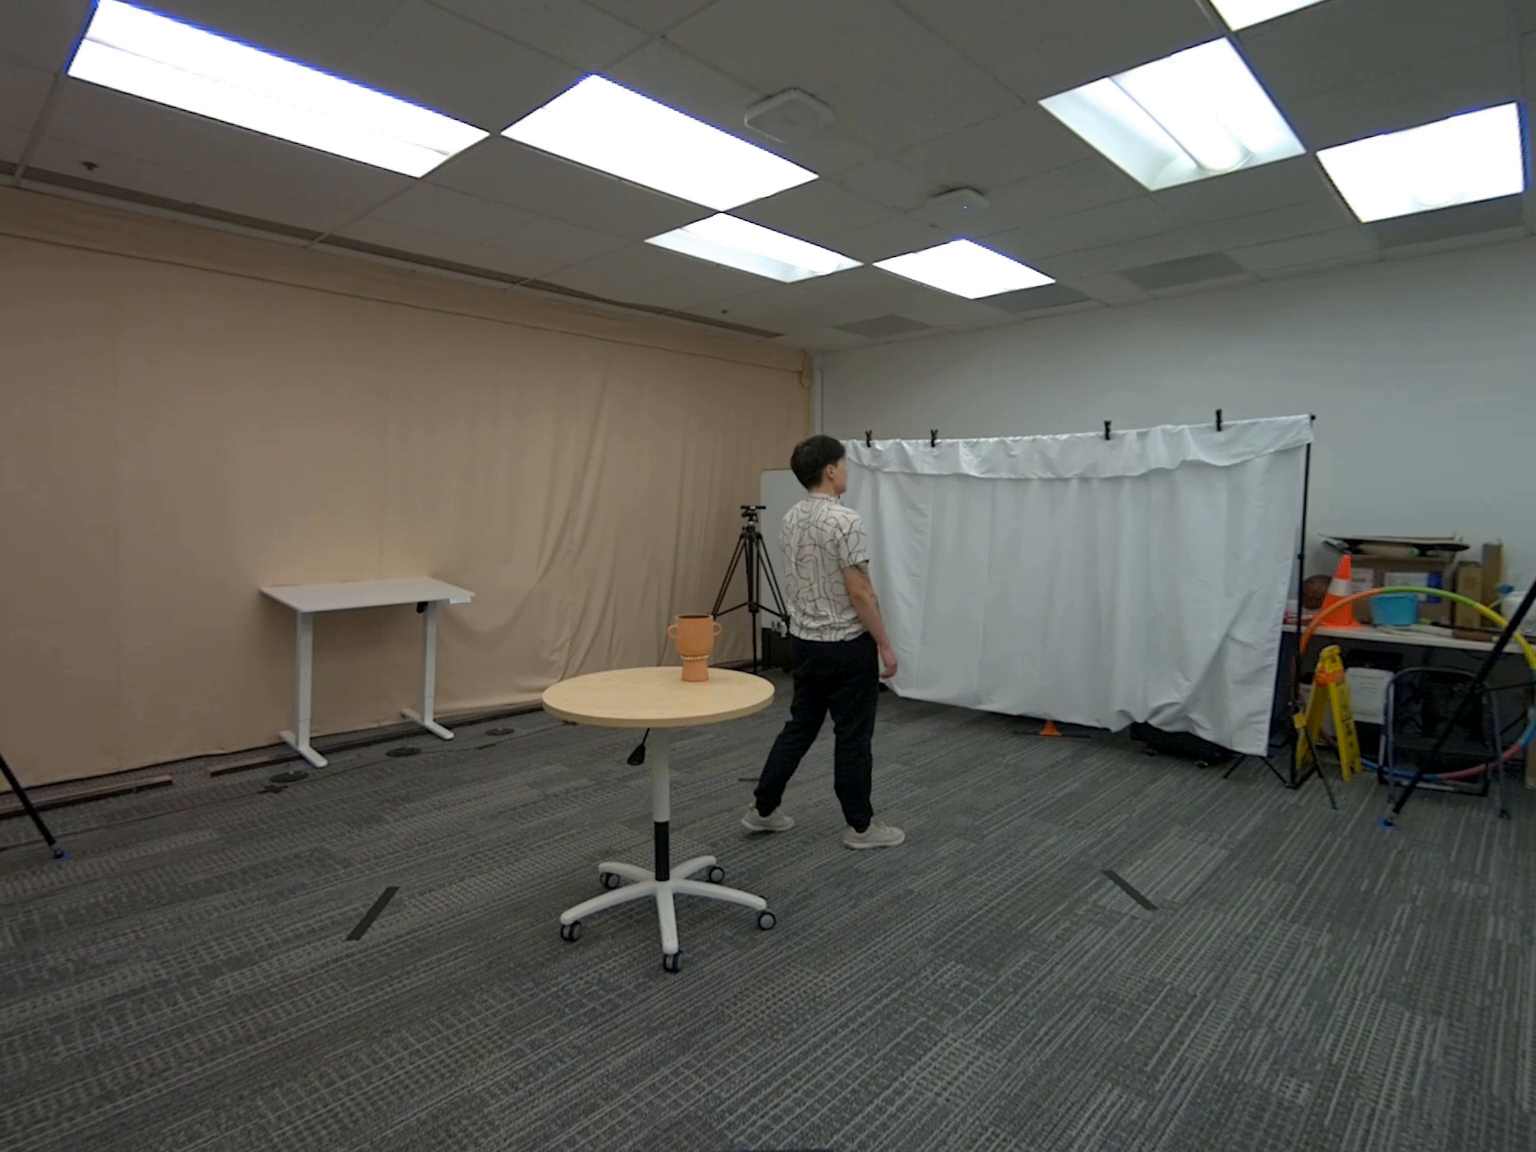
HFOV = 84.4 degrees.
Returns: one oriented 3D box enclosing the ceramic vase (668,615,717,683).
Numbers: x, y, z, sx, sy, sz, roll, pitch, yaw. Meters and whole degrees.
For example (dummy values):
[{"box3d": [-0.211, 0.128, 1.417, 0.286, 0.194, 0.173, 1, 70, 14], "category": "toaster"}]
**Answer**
[{"box3d": [-0.257, 0.253, 2.946, 0.162, 0.219, 0.132, 0, 3, 18], "category": "ceramic vase"}]
